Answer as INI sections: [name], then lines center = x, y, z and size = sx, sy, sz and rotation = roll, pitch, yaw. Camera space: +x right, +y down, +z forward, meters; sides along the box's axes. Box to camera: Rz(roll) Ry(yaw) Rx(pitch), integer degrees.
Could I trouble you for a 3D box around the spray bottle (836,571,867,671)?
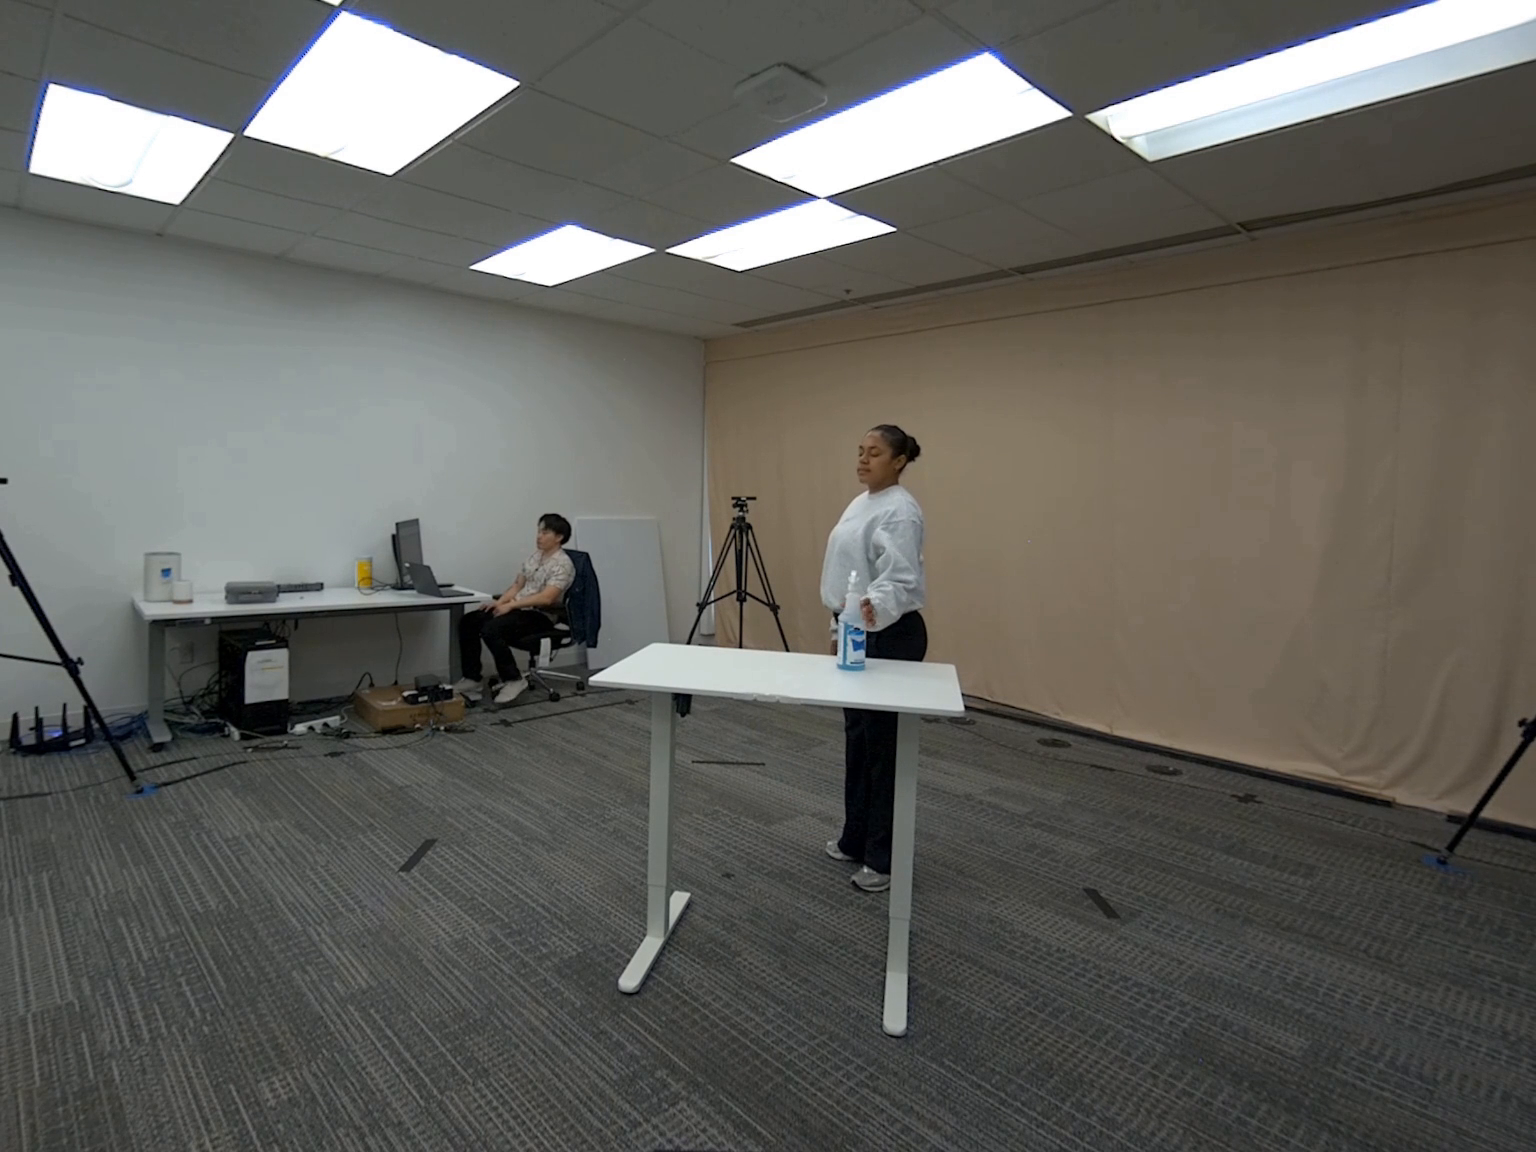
[spray bottle]
center = 0.257, 0.139, 2.563
size = 0.089, 0.297, 0.088
rotation = 2, 1, 31
